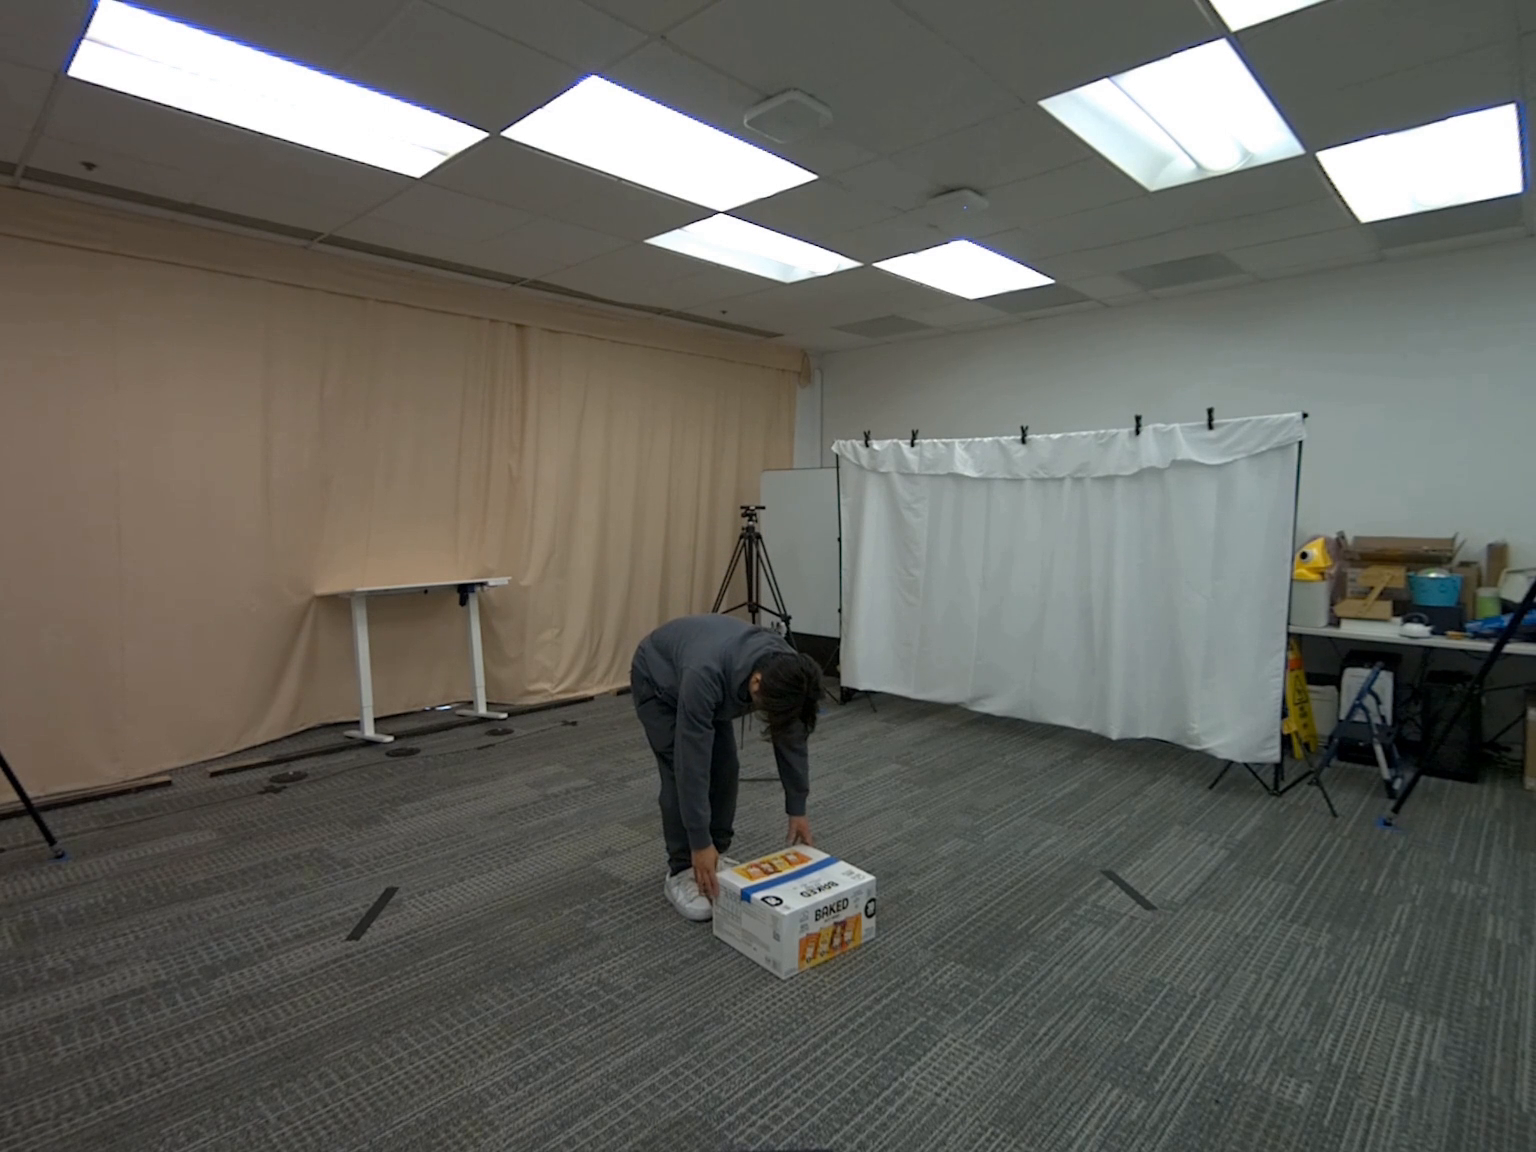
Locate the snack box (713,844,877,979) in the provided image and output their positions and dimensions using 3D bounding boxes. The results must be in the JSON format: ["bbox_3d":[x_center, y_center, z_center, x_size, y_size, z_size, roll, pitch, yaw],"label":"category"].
[{"bbox_3d":[0.089,1.066,2.708,0.393,0.205,0.351,-4,6,-40],"label":"snack box"}]
